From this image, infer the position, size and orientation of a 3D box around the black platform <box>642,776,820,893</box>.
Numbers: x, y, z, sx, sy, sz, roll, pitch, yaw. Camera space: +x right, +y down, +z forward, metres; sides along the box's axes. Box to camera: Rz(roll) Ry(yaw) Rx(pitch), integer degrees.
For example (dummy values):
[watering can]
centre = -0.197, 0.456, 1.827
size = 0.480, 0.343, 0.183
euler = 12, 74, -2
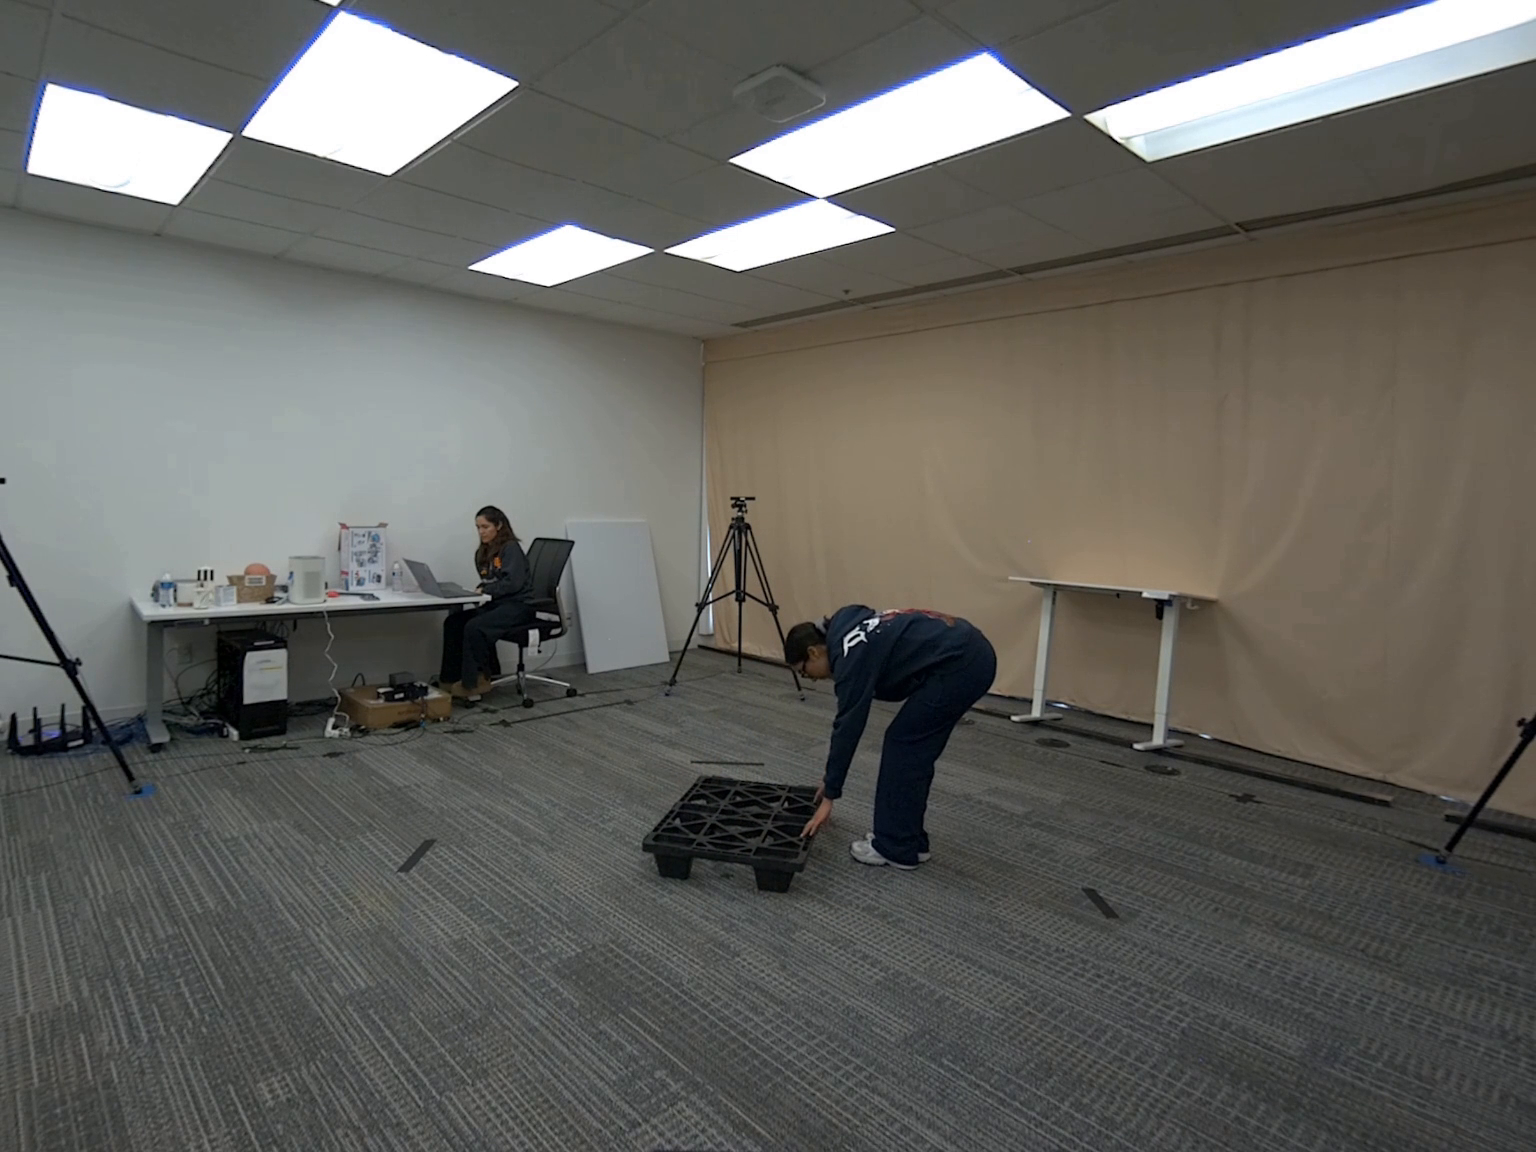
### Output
[black platform]
centre = -0.097, 1.014, 3.379
size = 0.611, 0.143, 0.800
euler = 3, 6, 12
